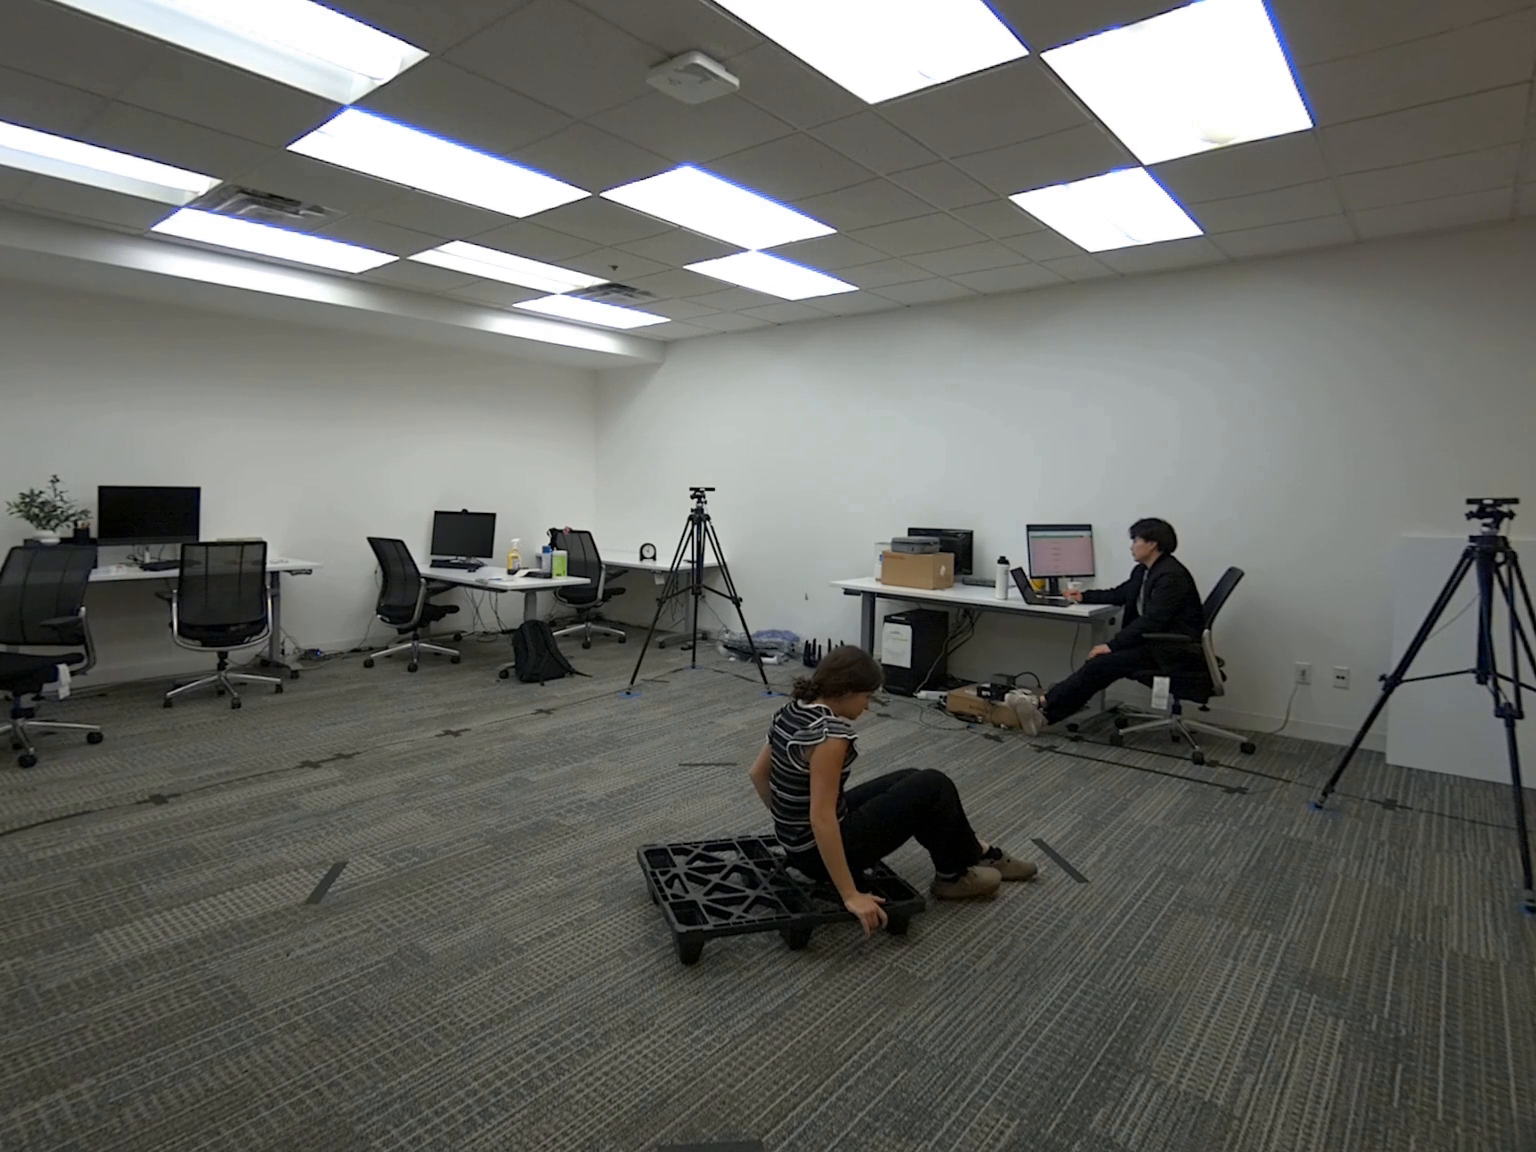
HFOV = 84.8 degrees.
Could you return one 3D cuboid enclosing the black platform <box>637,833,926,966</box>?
[{"bbox_3d":[0.009,1.033,2.795,0.791,0.143,0.619,0,6,-17],"label":"black platform"}]
